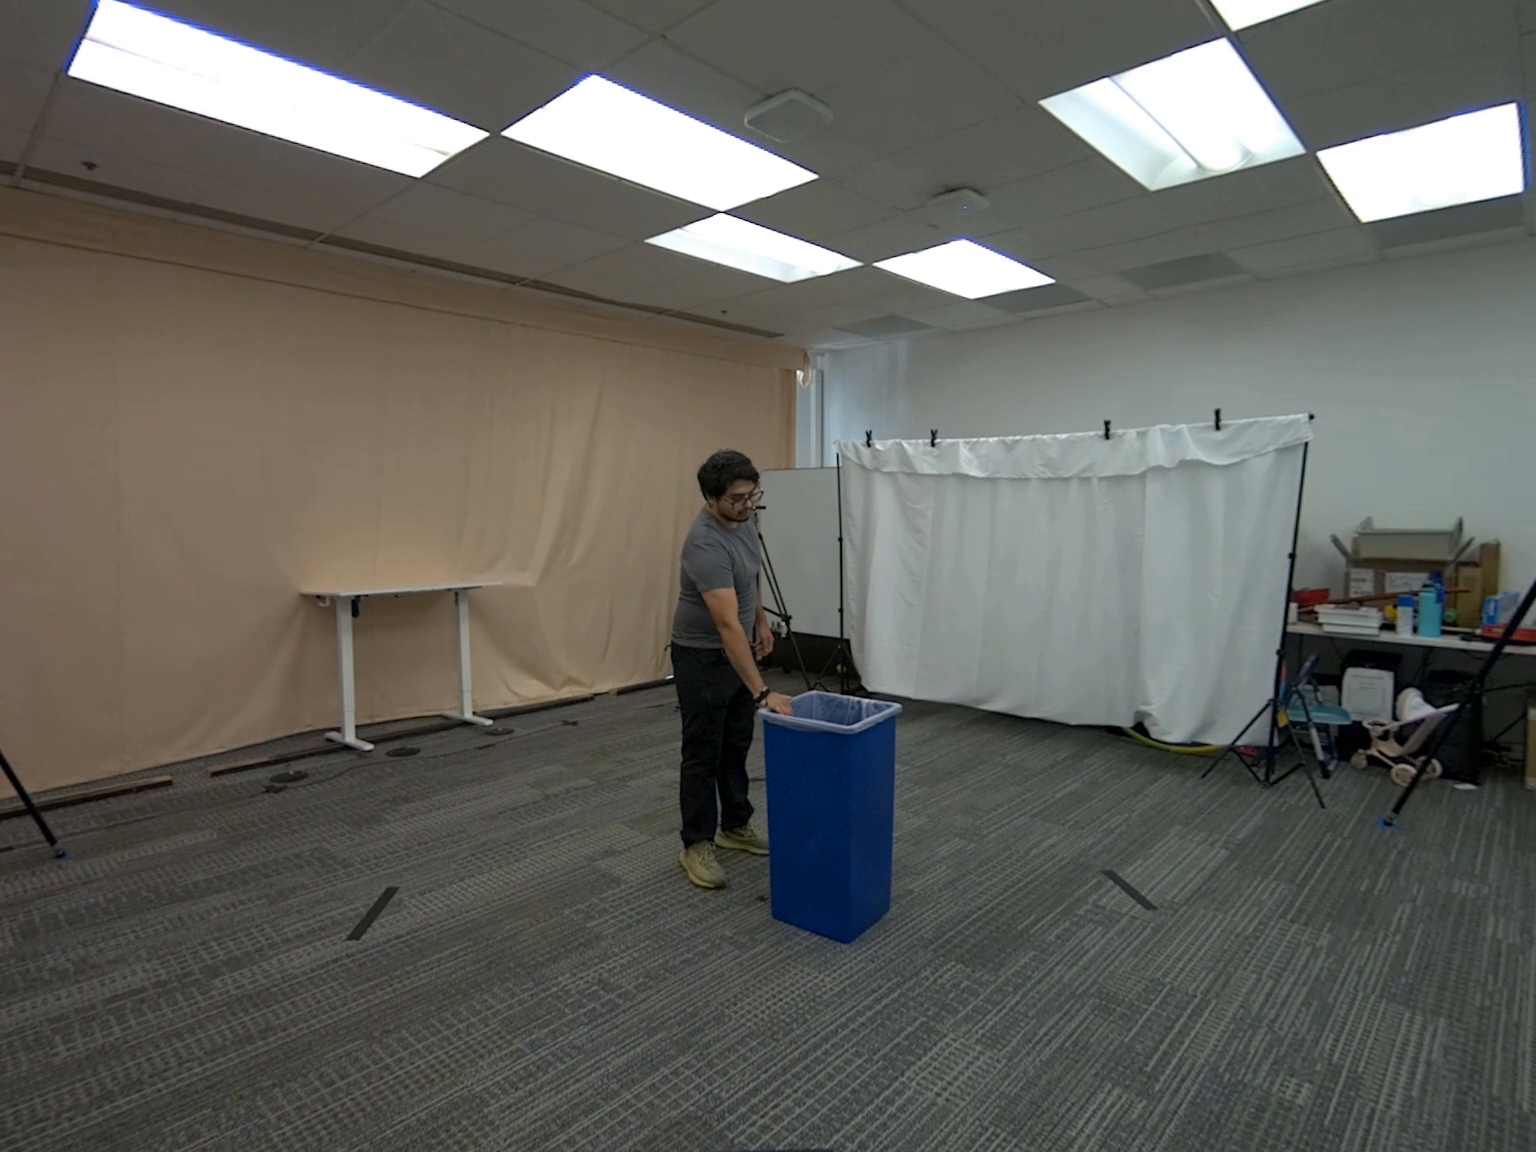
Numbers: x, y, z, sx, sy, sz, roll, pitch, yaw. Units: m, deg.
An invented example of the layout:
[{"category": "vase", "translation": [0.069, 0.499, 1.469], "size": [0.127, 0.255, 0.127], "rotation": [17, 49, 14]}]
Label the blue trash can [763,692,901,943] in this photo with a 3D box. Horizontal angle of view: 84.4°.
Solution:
[{"category": "blue trash can", "translation": [0.216, 0.796, 2.844], "size": [0.390, 0.712, 0.363], "rotation": [2, 4, 37]}]
